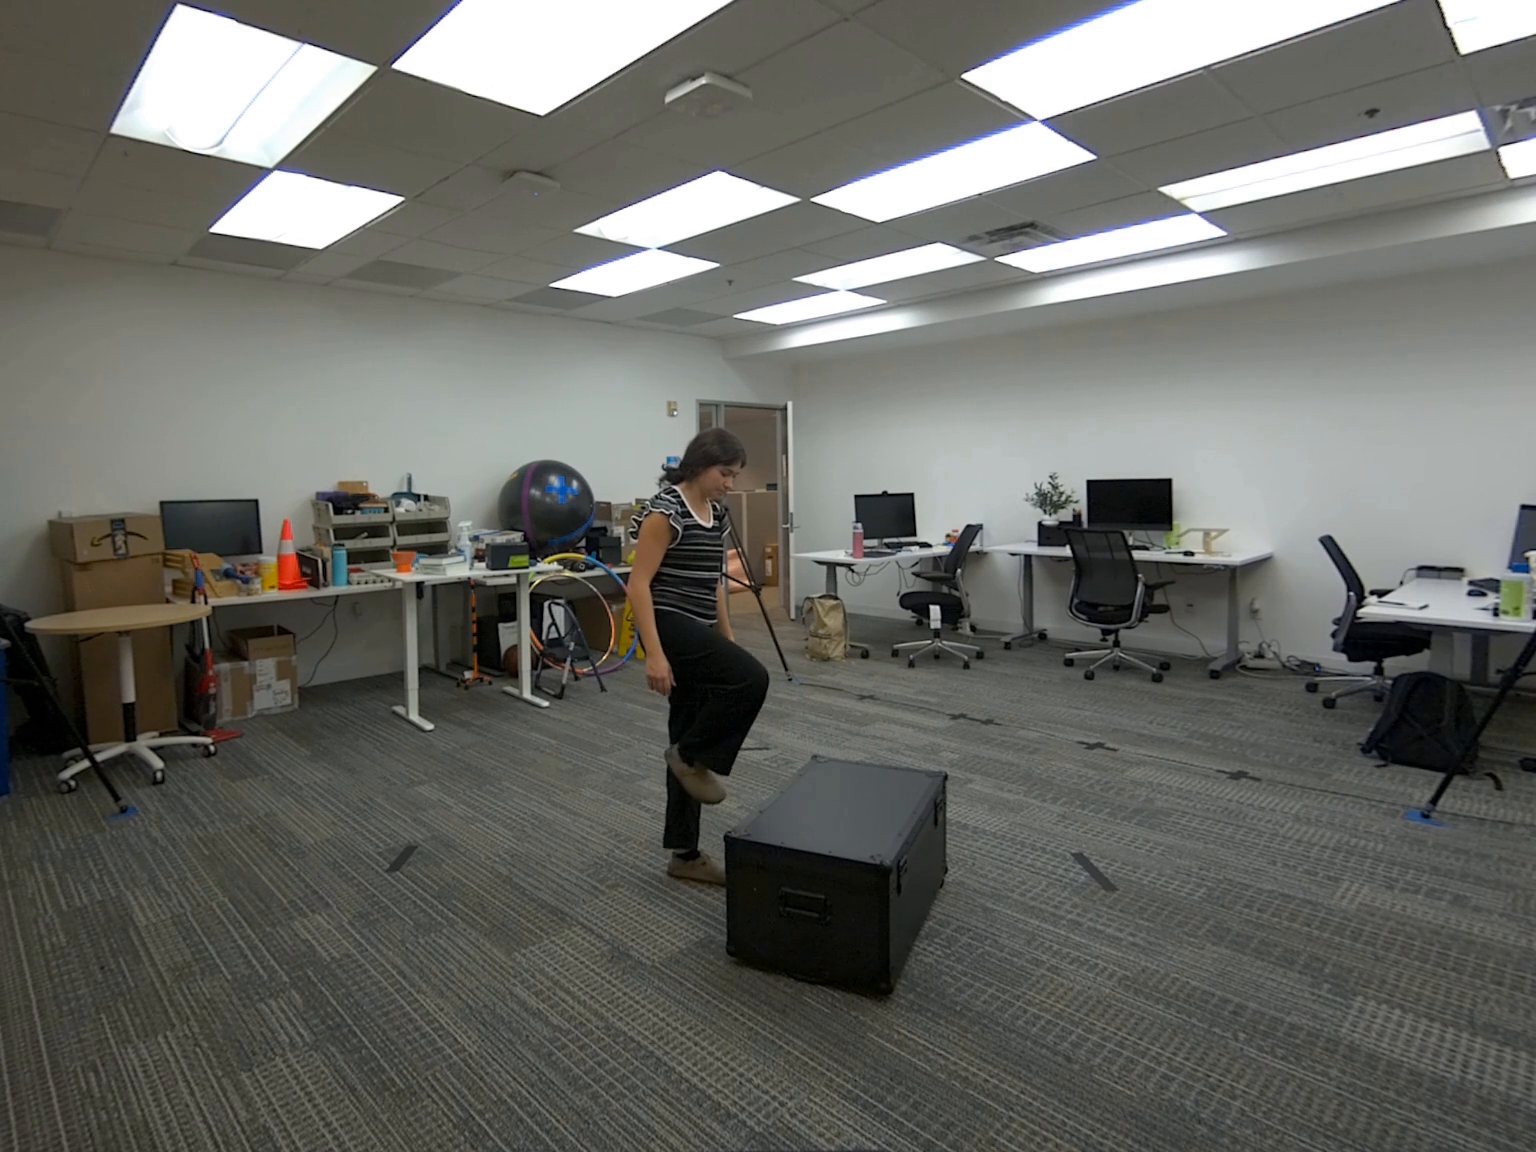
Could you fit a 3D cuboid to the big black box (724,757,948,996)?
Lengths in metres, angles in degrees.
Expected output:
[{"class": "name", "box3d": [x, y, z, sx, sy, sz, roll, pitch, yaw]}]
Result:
[{"class": "big black box", "box3d": [0.263, 0.890, 2.731, 0.533, 0.394, 0.847, 0, 7, 23]}]
